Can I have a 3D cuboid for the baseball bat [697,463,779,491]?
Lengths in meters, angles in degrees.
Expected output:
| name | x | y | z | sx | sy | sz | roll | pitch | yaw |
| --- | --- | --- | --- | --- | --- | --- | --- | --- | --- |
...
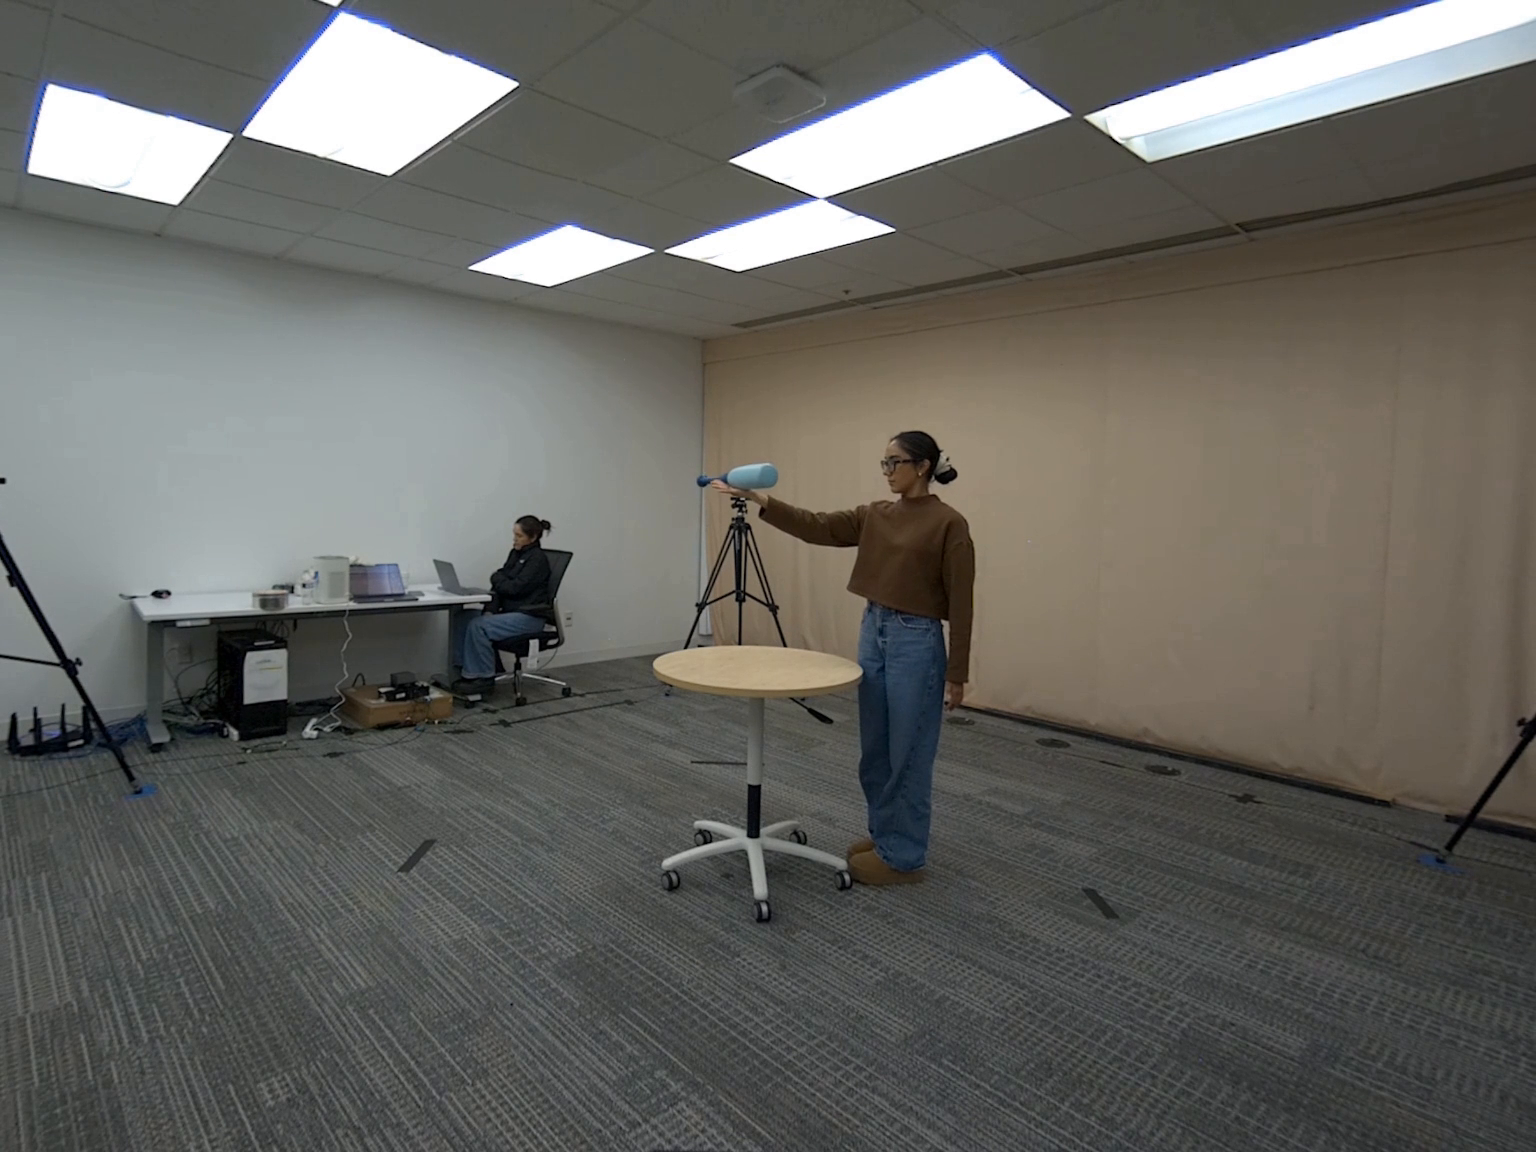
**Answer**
| name | x | y | z | sx | sy | sz | roll | pitch | yaw |
| --- | --- | --- | --- | --- | --- | --- | --- | --- | --- |
| baseball bat | -0.137 | -0.369 | 3.168 | 0.087 | 0.089 | 0.555 | -1 | 5 | -31 |
